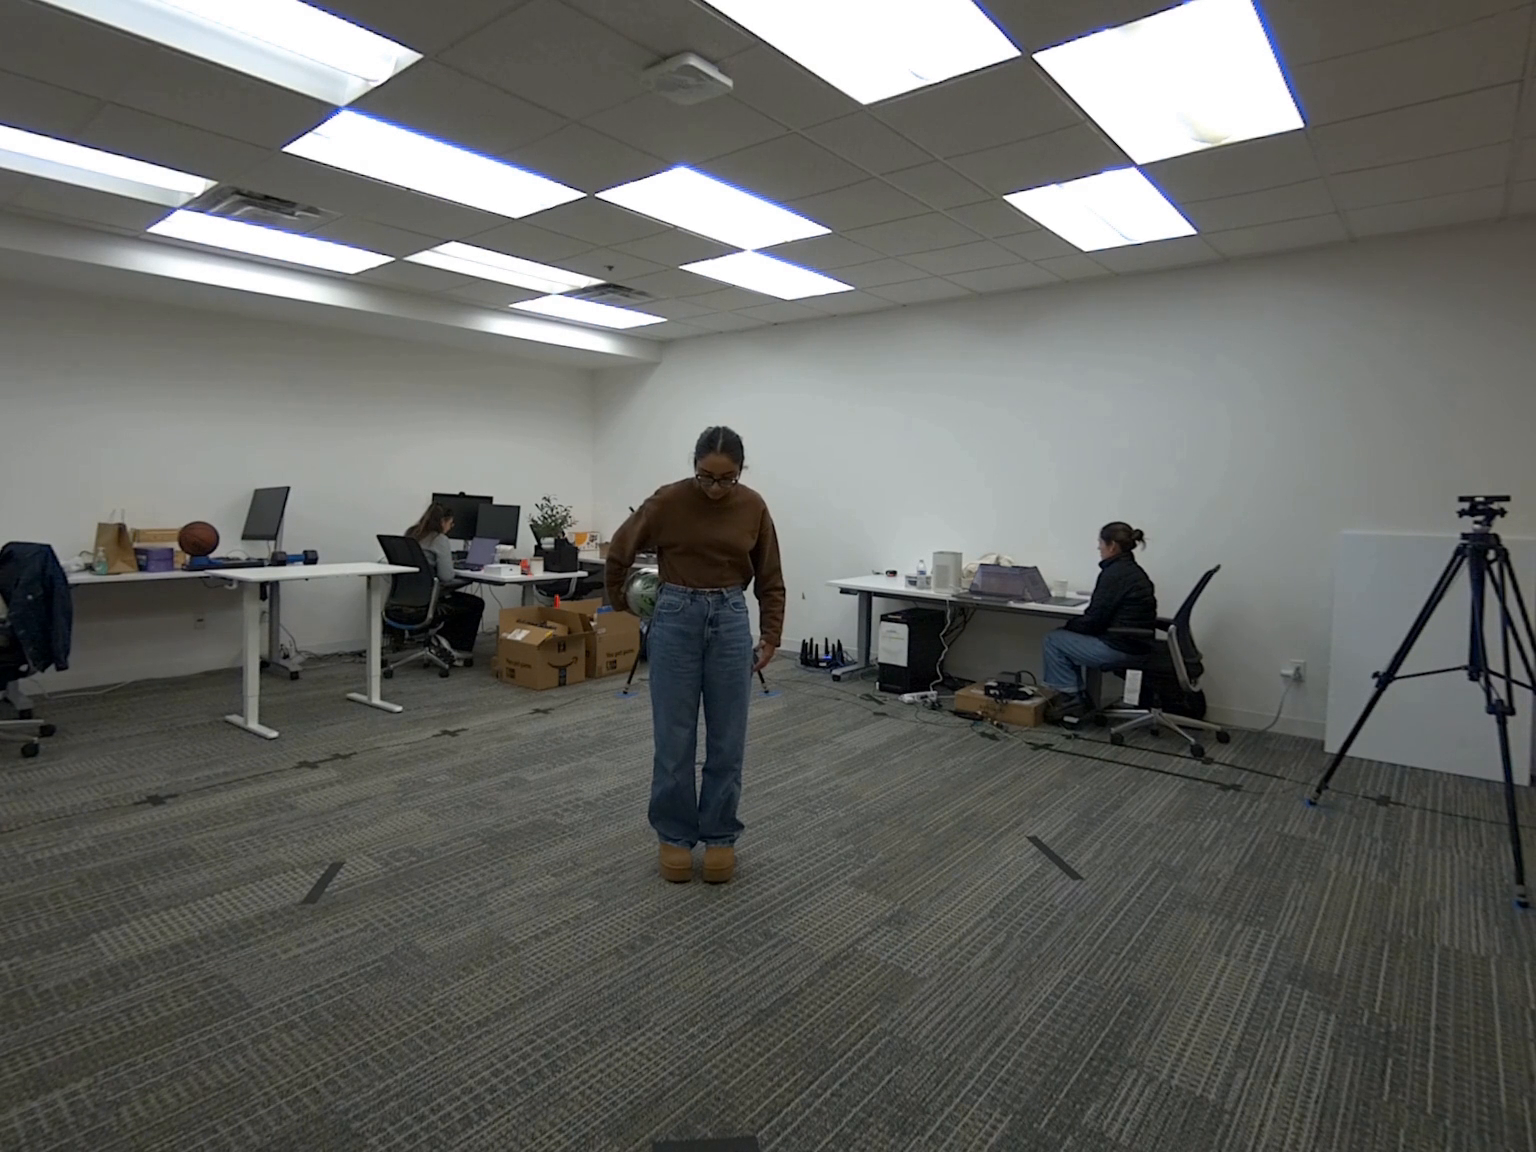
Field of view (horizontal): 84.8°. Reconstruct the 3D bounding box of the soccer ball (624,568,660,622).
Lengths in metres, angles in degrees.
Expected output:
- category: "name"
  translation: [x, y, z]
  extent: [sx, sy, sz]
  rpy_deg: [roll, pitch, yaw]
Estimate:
- category: "soccer ball"
  translation: [-0.458, 0.064, 3.190]
  extent: [0.187, 0.187, 0.188]
  rpy_deg: [1, 4, -2]
